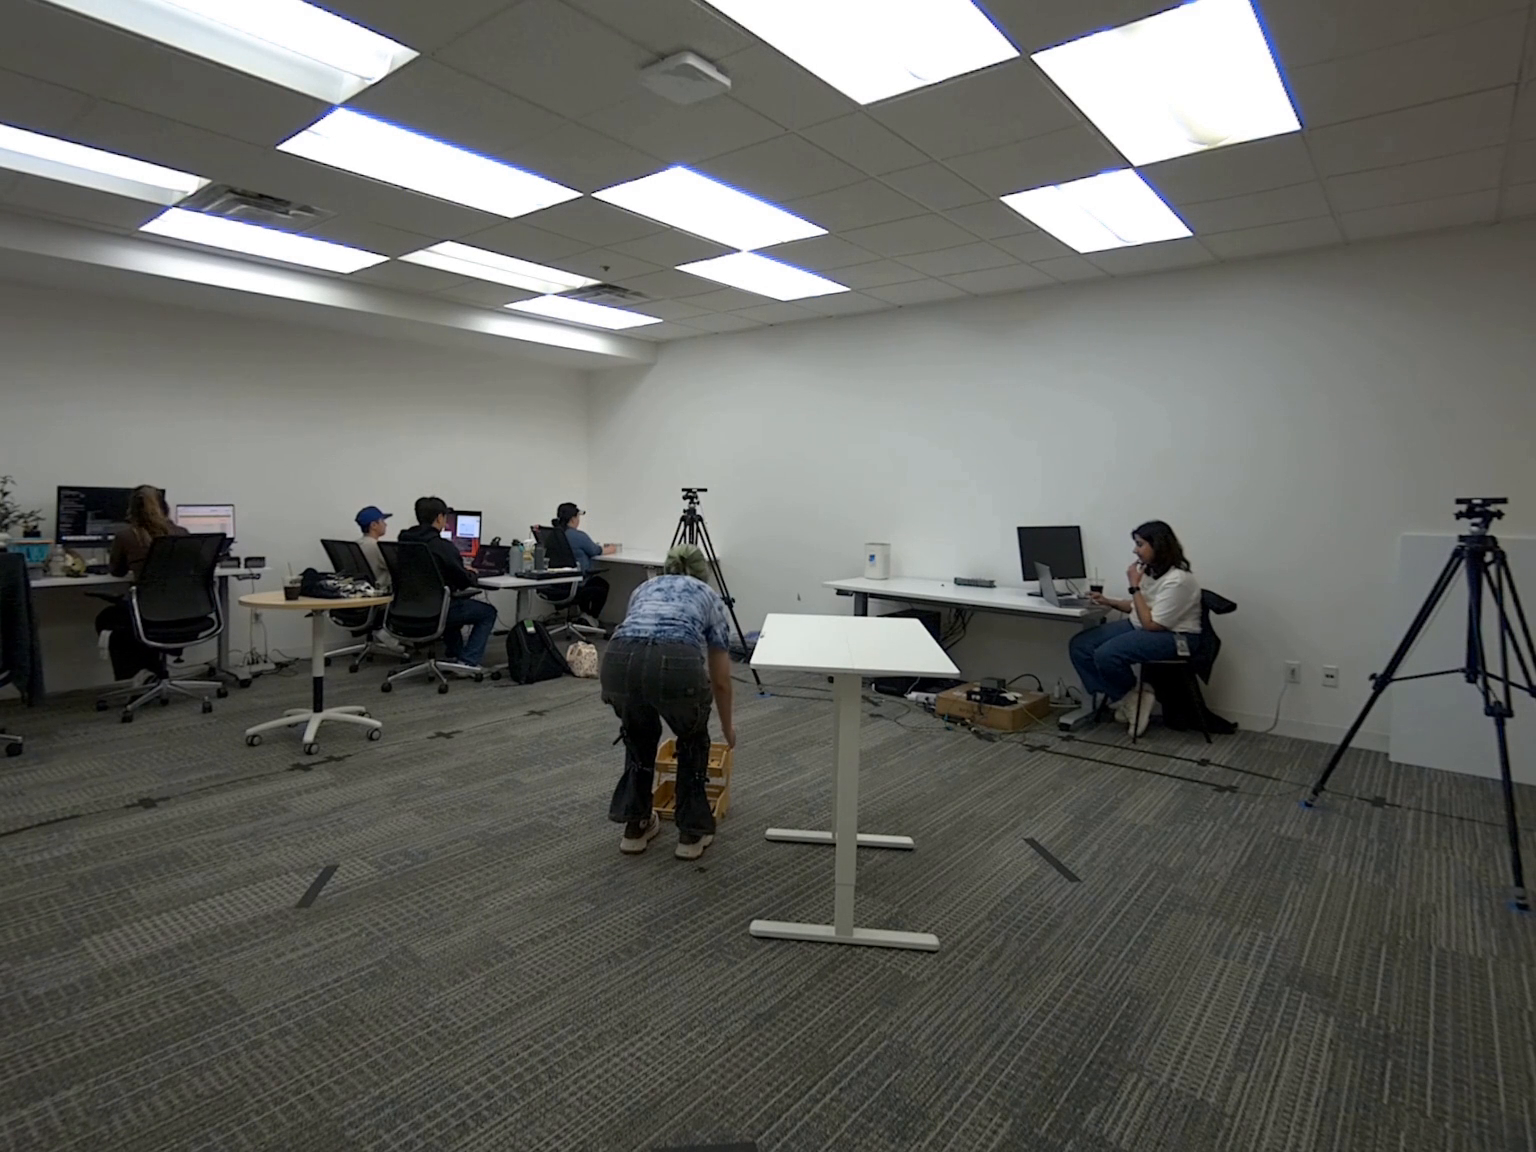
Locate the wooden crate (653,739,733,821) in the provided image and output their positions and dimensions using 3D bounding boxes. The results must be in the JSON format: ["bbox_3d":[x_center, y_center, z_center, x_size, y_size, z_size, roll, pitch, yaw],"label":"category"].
[{"bbox_3d":[-0.341,0.873,3.653,0.329,0.272,0.298,2,4,13],"label":"wooden crate"}]
